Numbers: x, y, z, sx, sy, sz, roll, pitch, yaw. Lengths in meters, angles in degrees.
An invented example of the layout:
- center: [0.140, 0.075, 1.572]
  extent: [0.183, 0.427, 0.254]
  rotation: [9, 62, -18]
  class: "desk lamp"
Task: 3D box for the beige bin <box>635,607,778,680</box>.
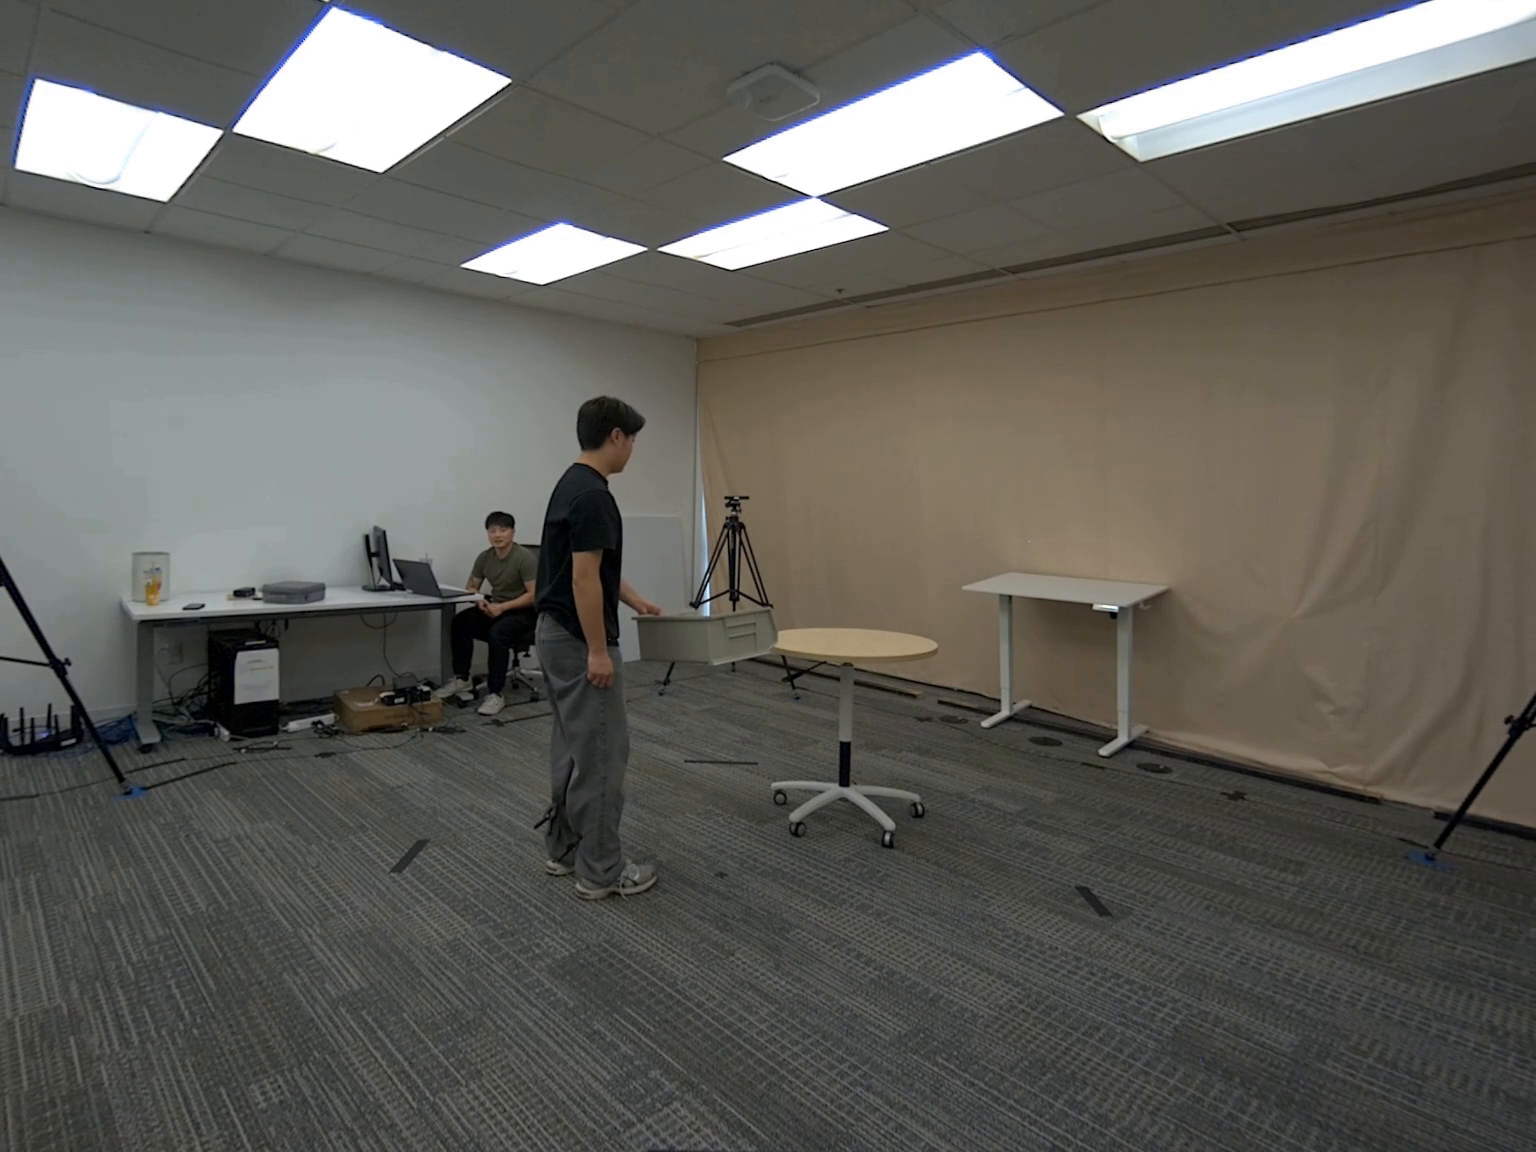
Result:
- center: [-0.242, 0.228, 3.247]
  extent: [0.432, 0.189, 0.369]
  rotation: [-3, 4, 41]
  class: "beige bin"
